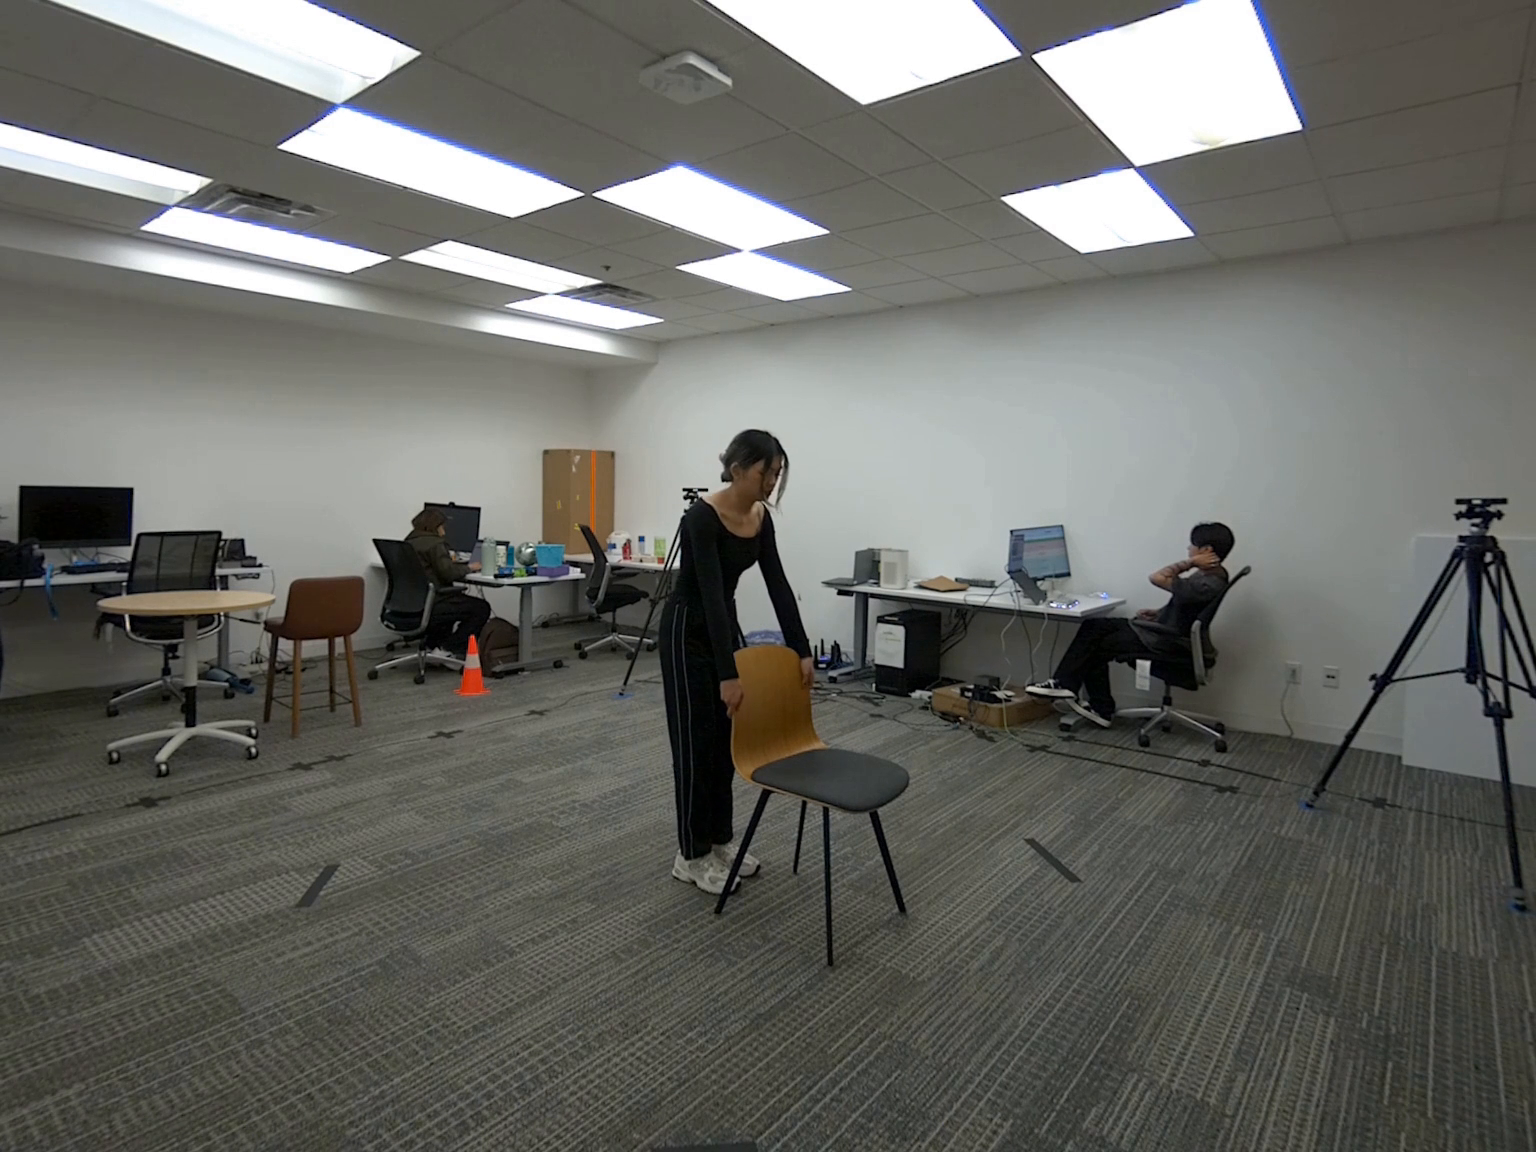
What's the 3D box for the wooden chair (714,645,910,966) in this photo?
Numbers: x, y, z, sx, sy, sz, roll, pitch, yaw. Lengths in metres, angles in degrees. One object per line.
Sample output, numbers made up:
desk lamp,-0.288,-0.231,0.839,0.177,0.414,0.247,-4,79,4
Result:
wooden chair,0.158,0.685,2.765,0.539,0.878,0.463,-1,0,39
